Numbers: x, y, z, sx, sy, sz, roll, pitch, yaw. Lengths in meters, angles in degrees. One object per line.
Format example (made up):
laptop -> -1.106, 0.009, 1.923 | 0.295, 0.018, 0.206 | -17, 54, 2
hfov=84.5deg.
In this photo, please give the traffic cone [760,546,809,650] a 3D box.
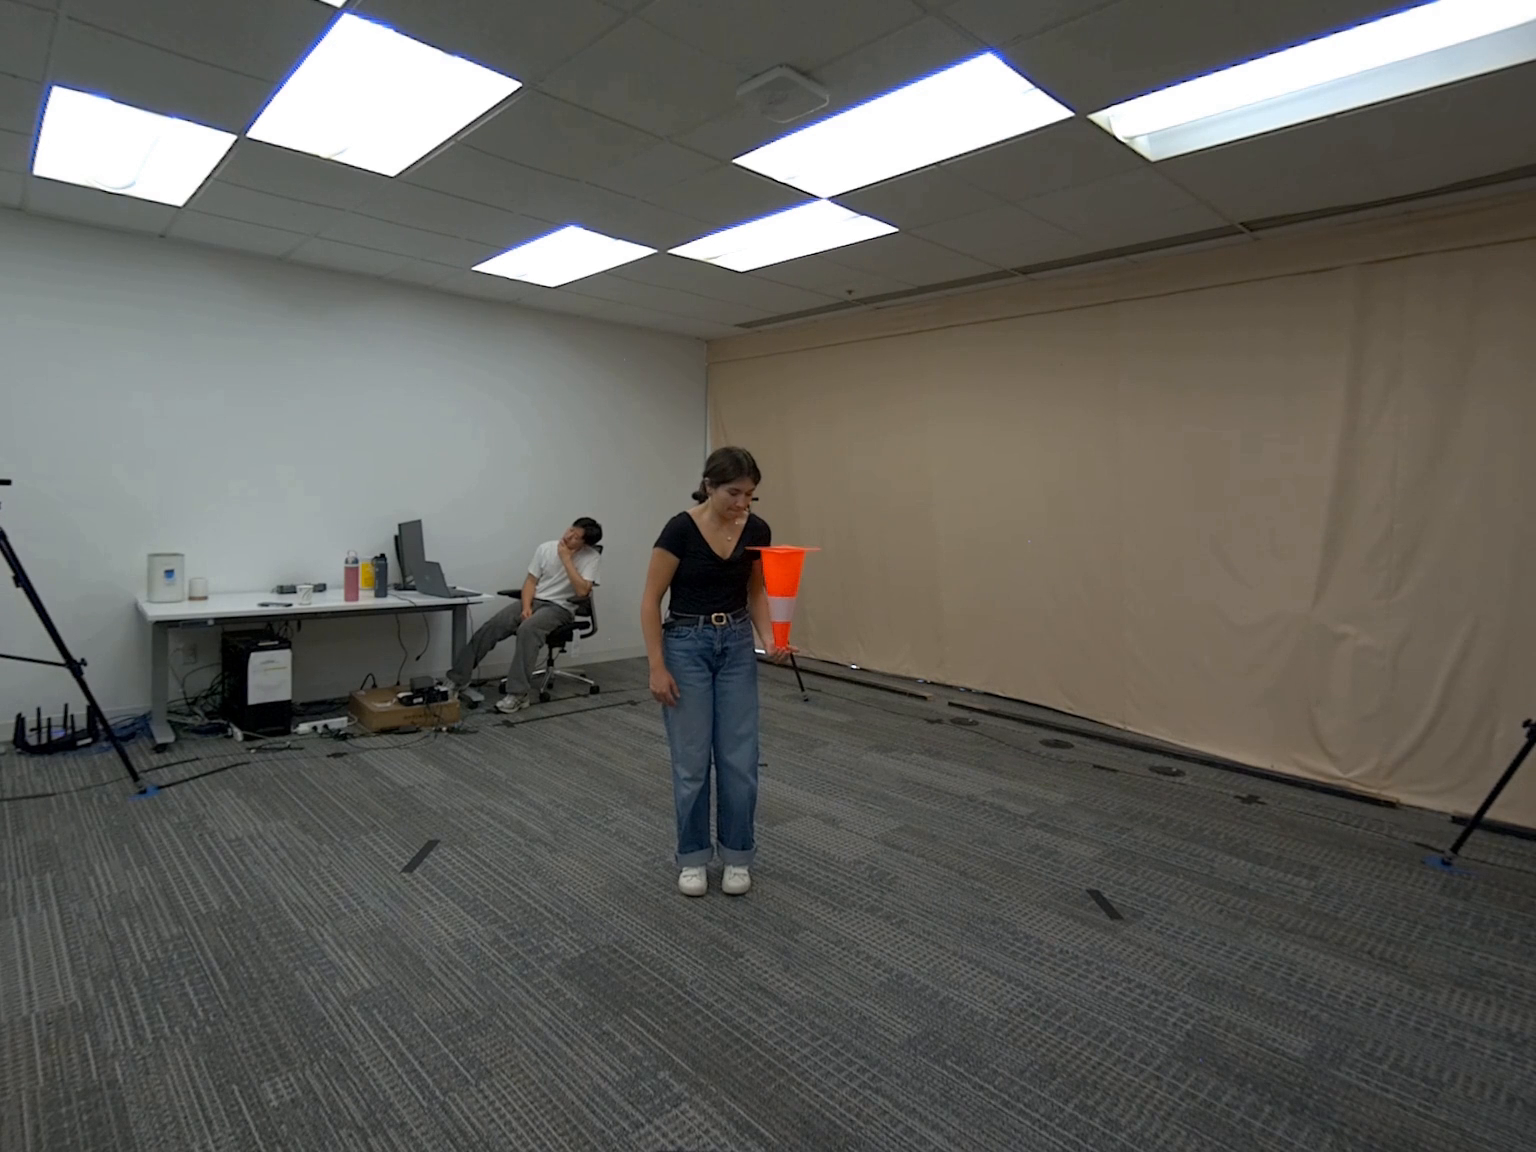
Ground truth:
traffic cone -> 0.040, 0.093, 2.946 | 0.201, 0.383, 0.207 | -2, 3, -28
